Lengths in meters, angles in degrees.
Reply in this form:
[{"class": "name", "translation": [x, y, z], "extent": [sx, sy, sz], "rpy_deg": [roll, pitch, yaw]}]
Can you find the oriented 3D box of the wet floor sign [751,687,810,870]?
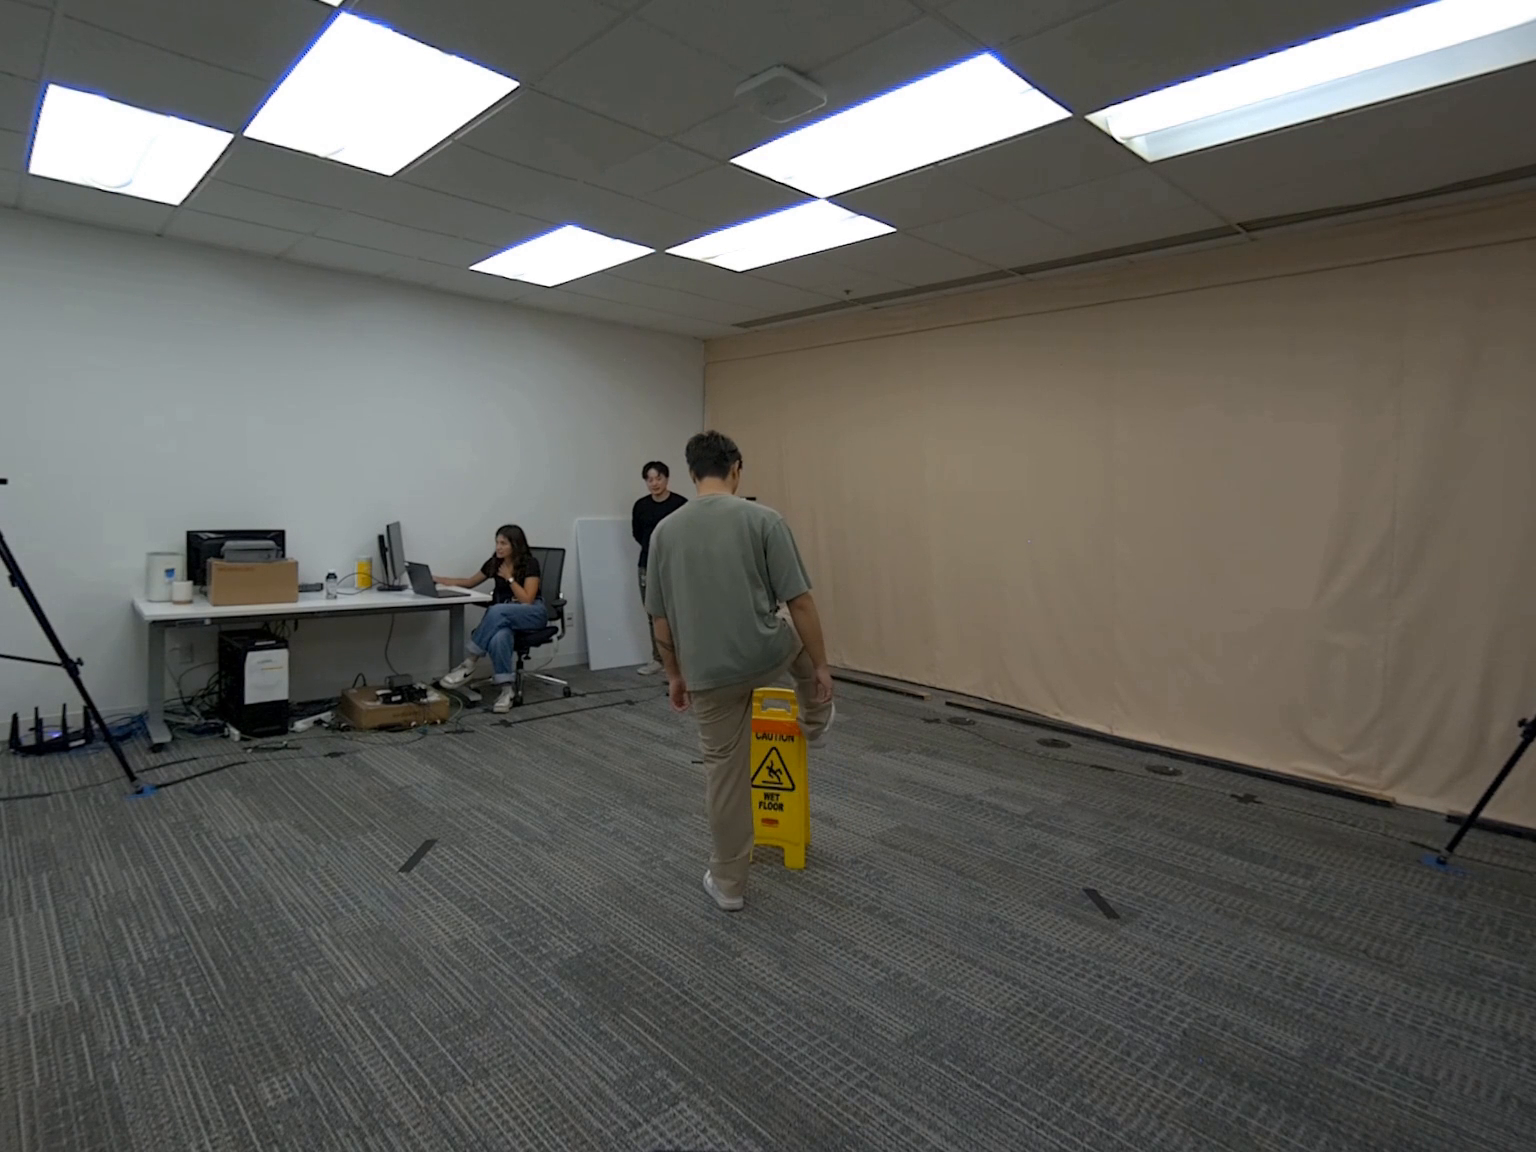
[{"class": "wet floor sign", "translation": [0.009, 0.769, 3.311], "extent": [0.284, 0.645, 0.288], "rpy_deg": [2, 2, 9]}]
